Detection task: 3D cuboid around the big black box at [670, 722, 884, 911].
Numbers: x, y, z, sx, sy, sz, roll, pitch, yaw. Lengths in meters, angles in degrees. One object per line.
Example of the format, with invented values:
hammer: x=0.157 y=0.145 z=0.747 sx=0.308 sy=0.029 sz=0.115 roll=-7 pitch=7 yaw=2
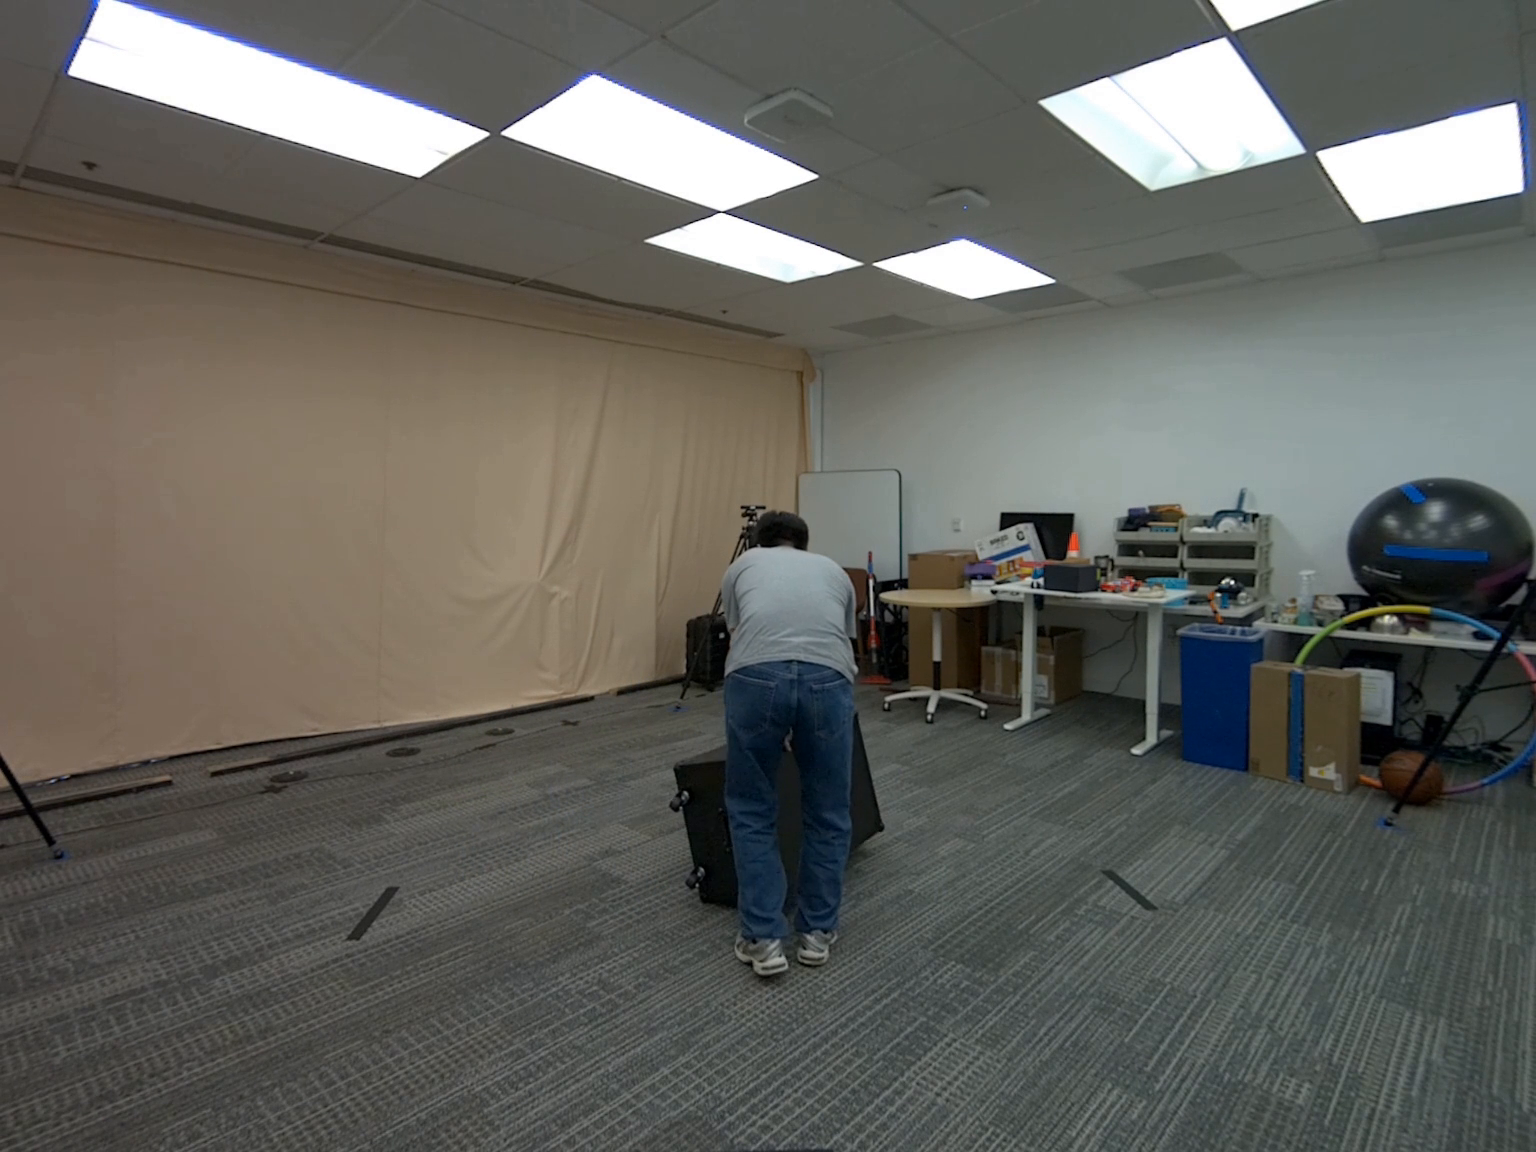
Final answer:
big black box: x=0.039 y=0.853 z=3.178 sx=0.406 sy=0.523 sz=0.837 roll=-15 pitch=-5 yaw=33
